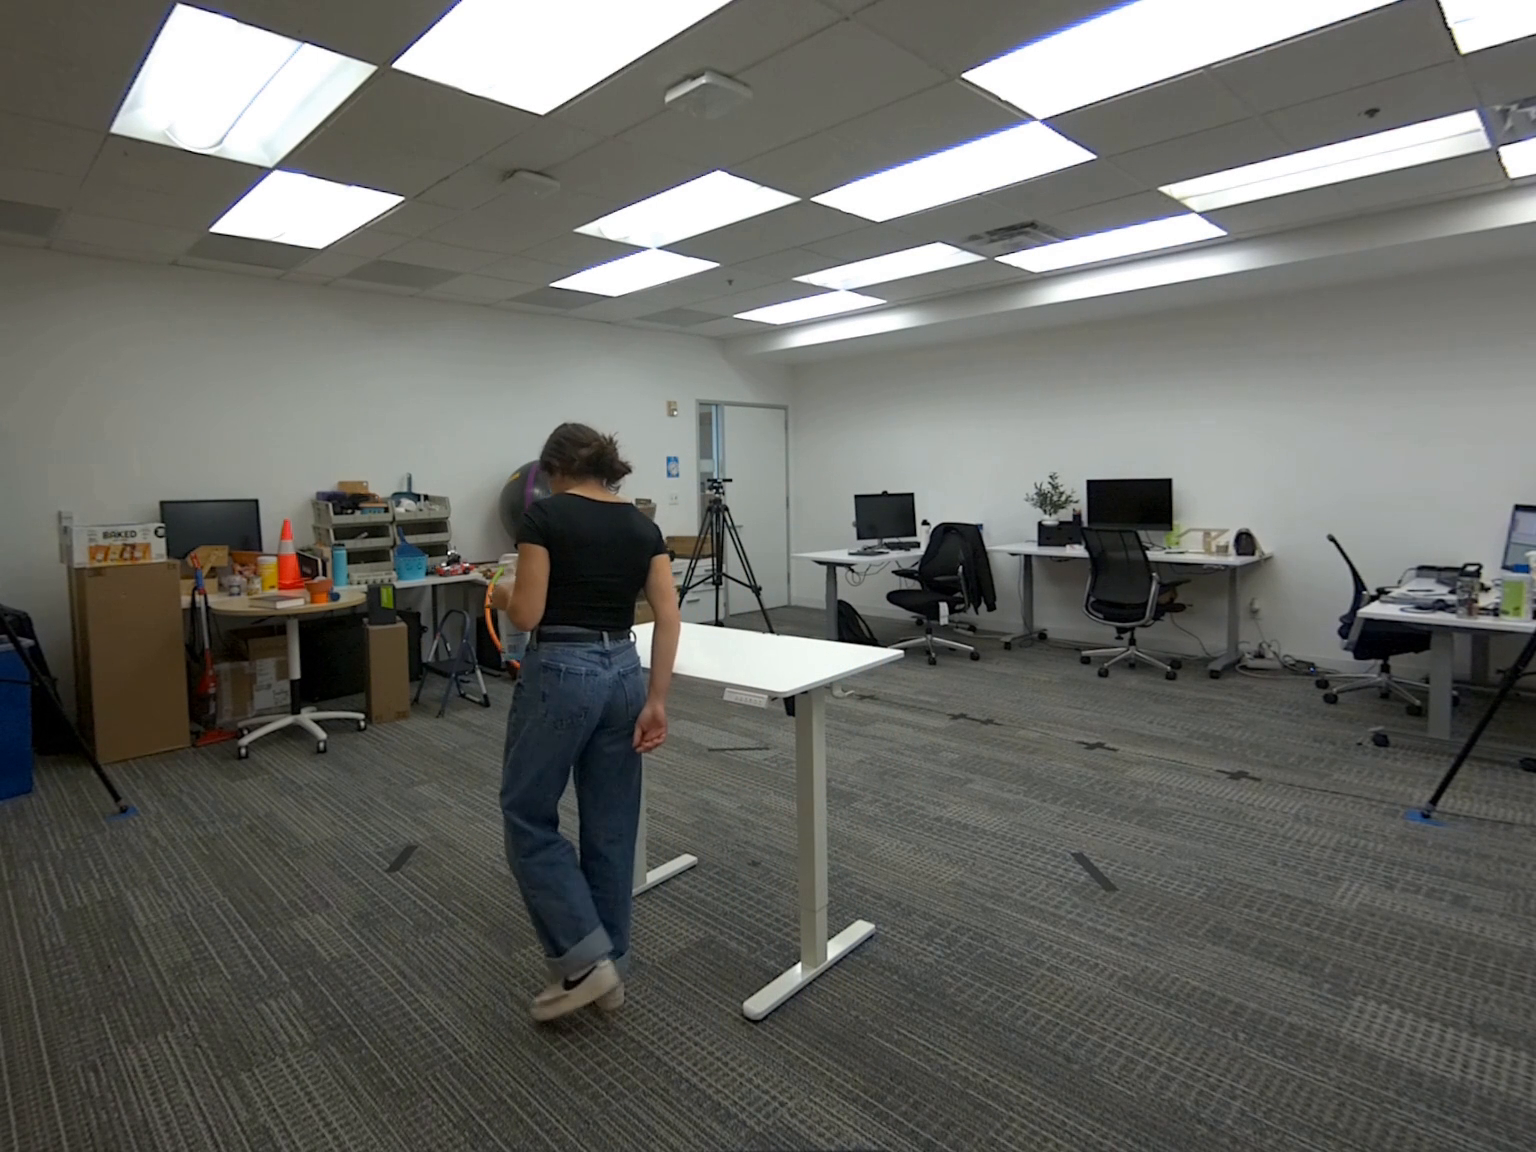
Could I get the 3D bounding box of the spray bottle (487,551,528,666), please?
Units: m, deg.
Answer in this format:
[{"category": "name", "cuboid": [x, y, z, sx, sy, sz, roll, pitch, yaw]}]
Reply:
[{"category": "spray bottle", "cuboid": [-0.721, 0.087, 2.401, 0.085, 0.295, 0.093, -6, 8, -30]}]
